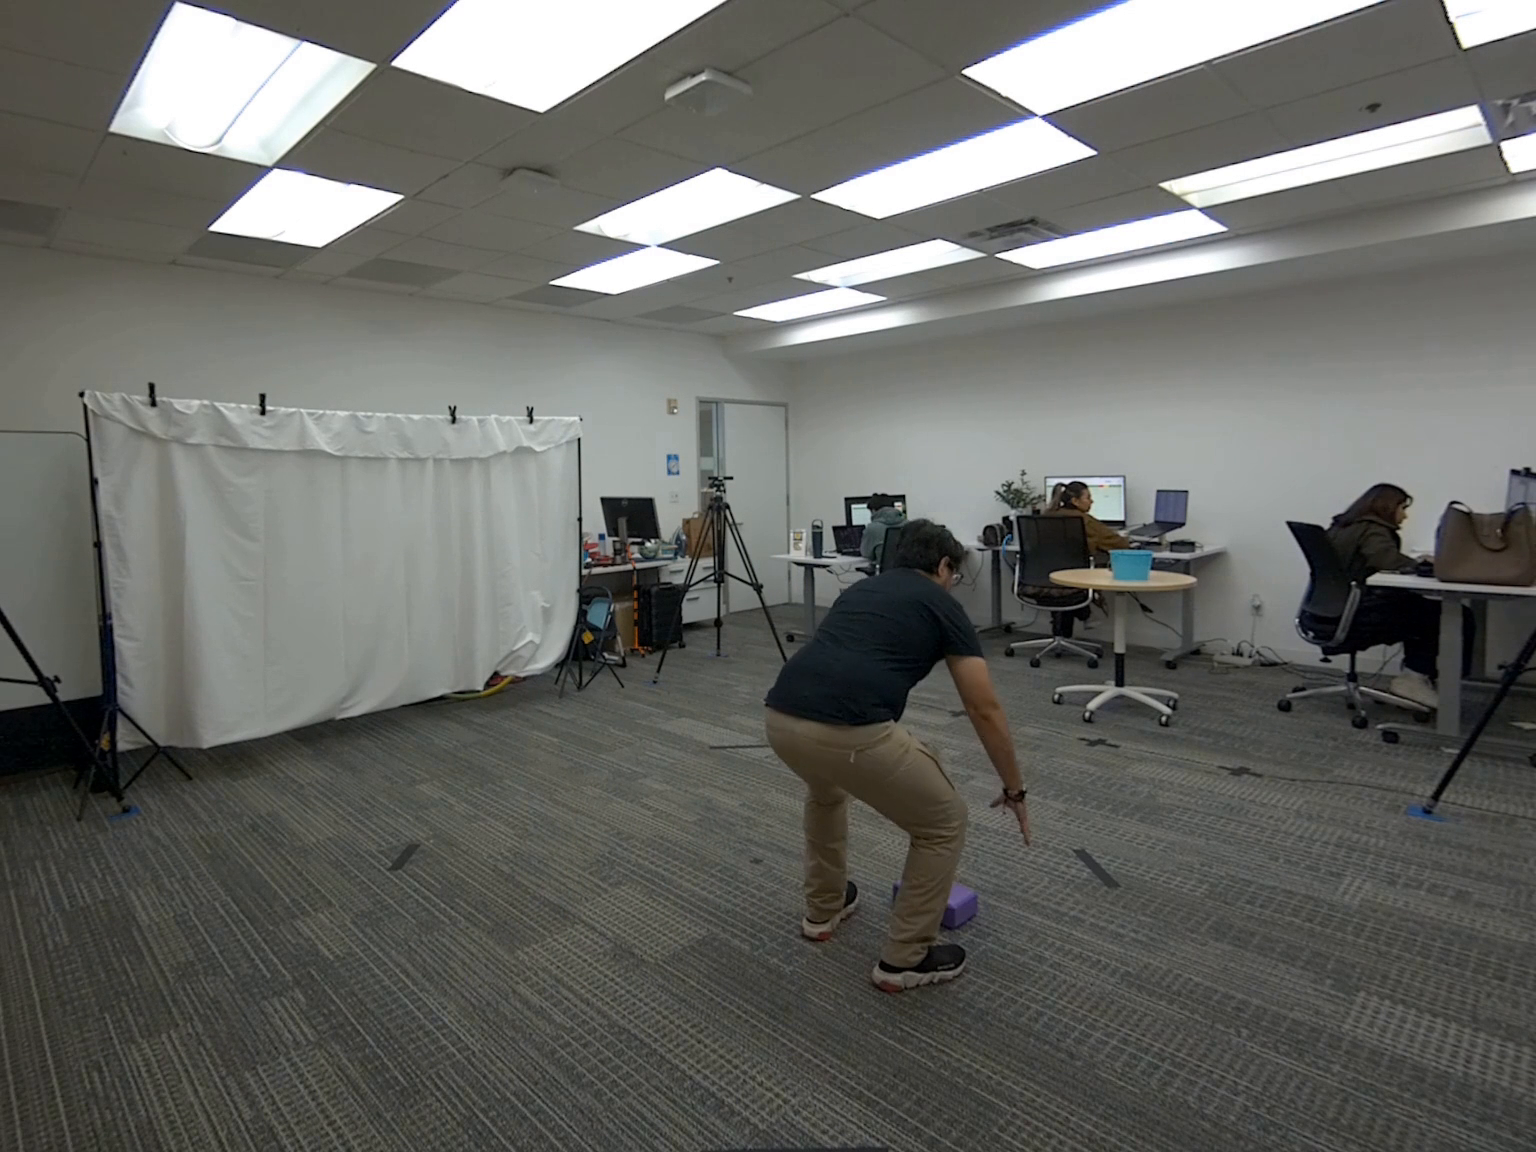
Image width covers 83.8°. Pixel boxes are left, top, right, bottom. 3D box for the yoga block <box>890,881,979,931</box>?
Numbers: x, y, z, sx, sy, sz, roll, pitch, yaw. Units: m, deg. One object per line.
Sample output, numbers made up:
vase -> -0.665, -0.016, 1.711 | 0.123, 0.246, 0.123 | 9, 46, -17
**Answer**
yoga block -> 0.531, 1.027, 2.727 | 0.145, 0.076, 0.236 | -6, 8, -44
